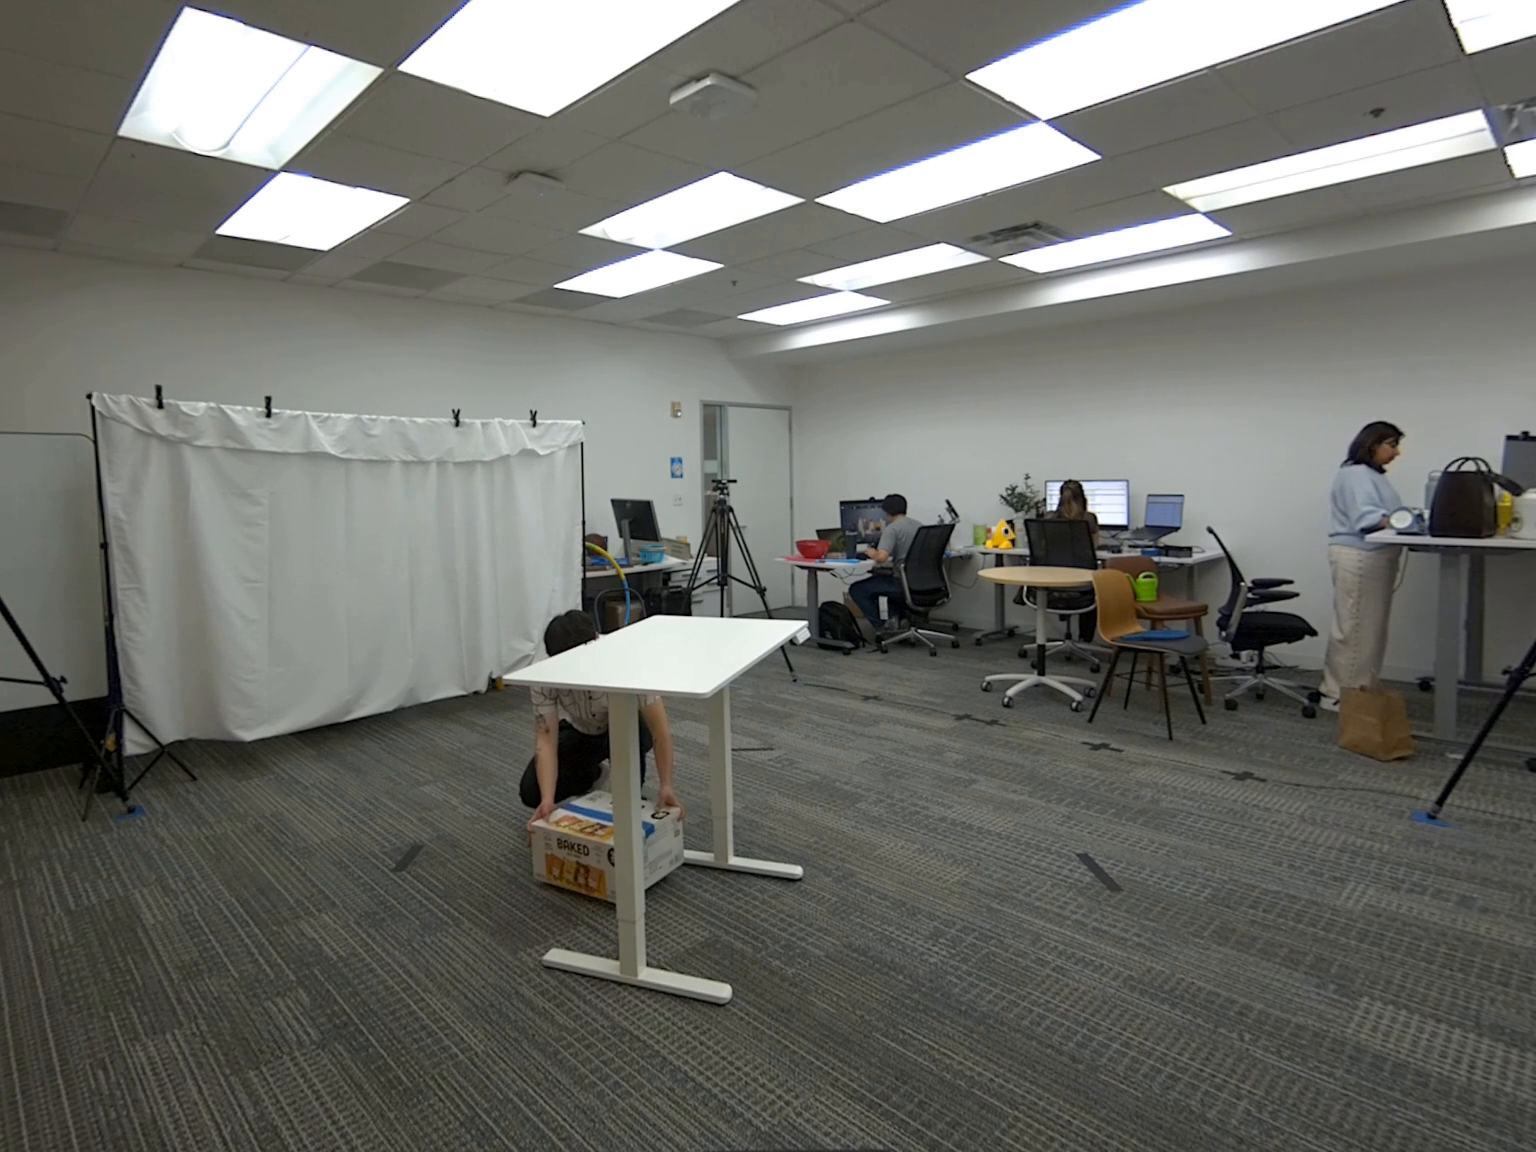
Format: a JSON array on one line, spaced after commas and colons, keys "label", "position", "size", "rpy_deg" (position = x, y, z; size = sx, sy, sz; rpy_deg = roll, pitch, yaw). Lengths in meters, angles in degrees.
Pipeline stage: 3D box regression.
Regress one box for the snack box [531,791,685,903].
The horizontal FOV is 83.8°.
[{"label": "snack box", "position": [-0.563, 0.944, 3.000], "size": [0.416, 0.204, 0.333], "rpy_deg": [1, 8, 32]}]
